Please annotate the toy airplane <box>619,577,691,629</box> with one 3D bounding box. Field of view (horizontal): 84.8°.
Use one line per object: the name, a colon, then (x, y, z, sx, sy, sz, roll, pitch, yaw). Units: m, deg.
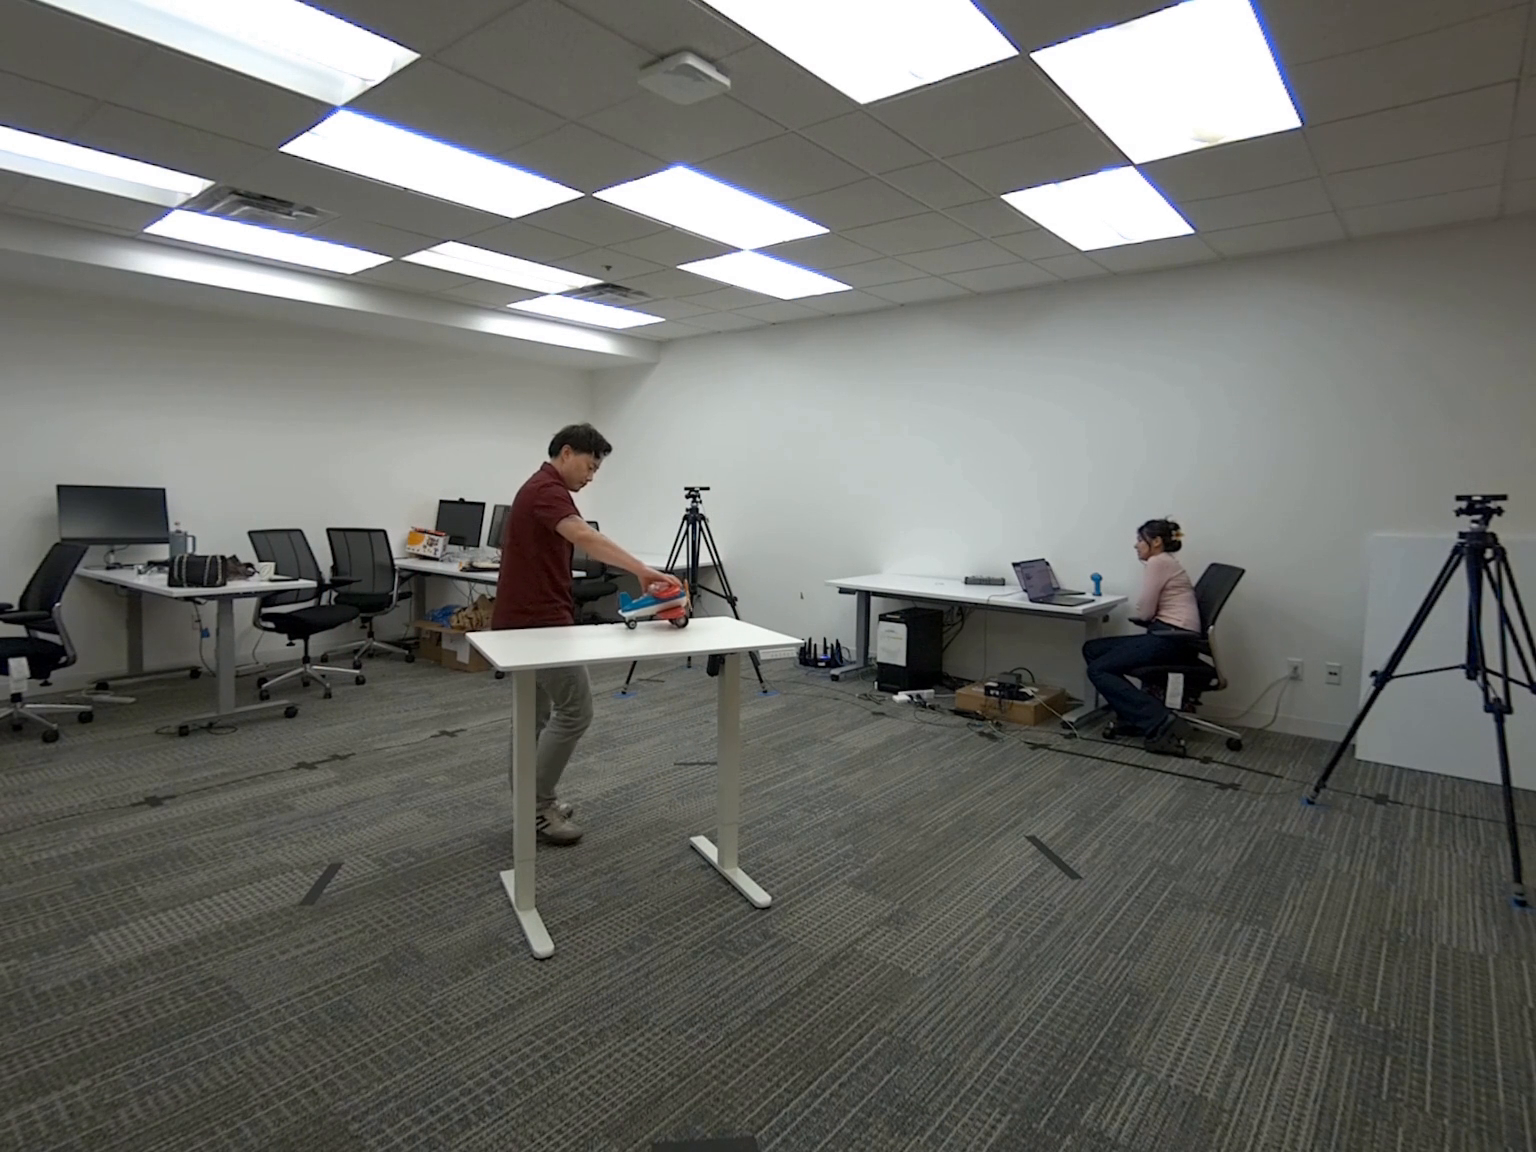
toy airplane: (-0.413, 0.110, 3.072, 0.259, 0.156, 0.251, 4, 5, 43)
